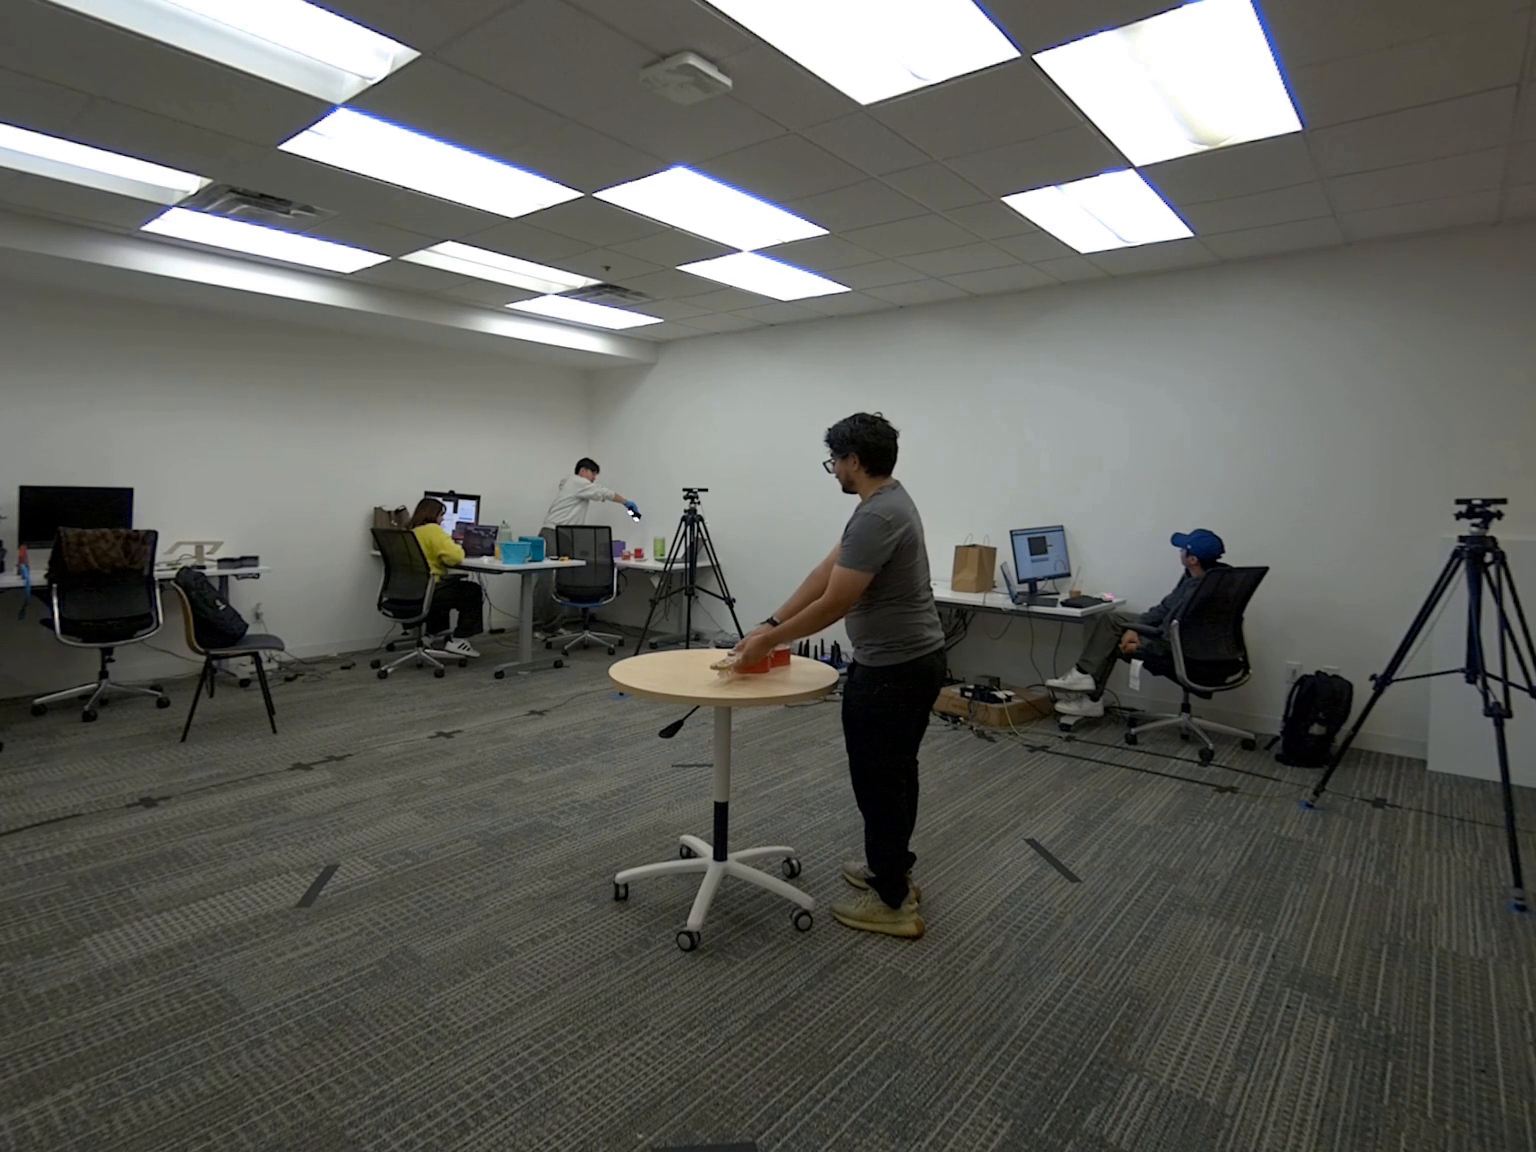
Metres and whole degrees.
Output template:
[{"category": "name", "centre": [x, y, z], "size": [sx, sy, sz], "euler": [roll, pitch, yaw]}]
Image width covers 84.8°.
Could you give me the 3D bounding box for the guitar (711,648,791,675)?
[{"category": "guitar", "centre": [-0.103, 0.278, 2.854], "size": [0.199, 0.070, 0.485], "euler": [7, 7, 29]}]
